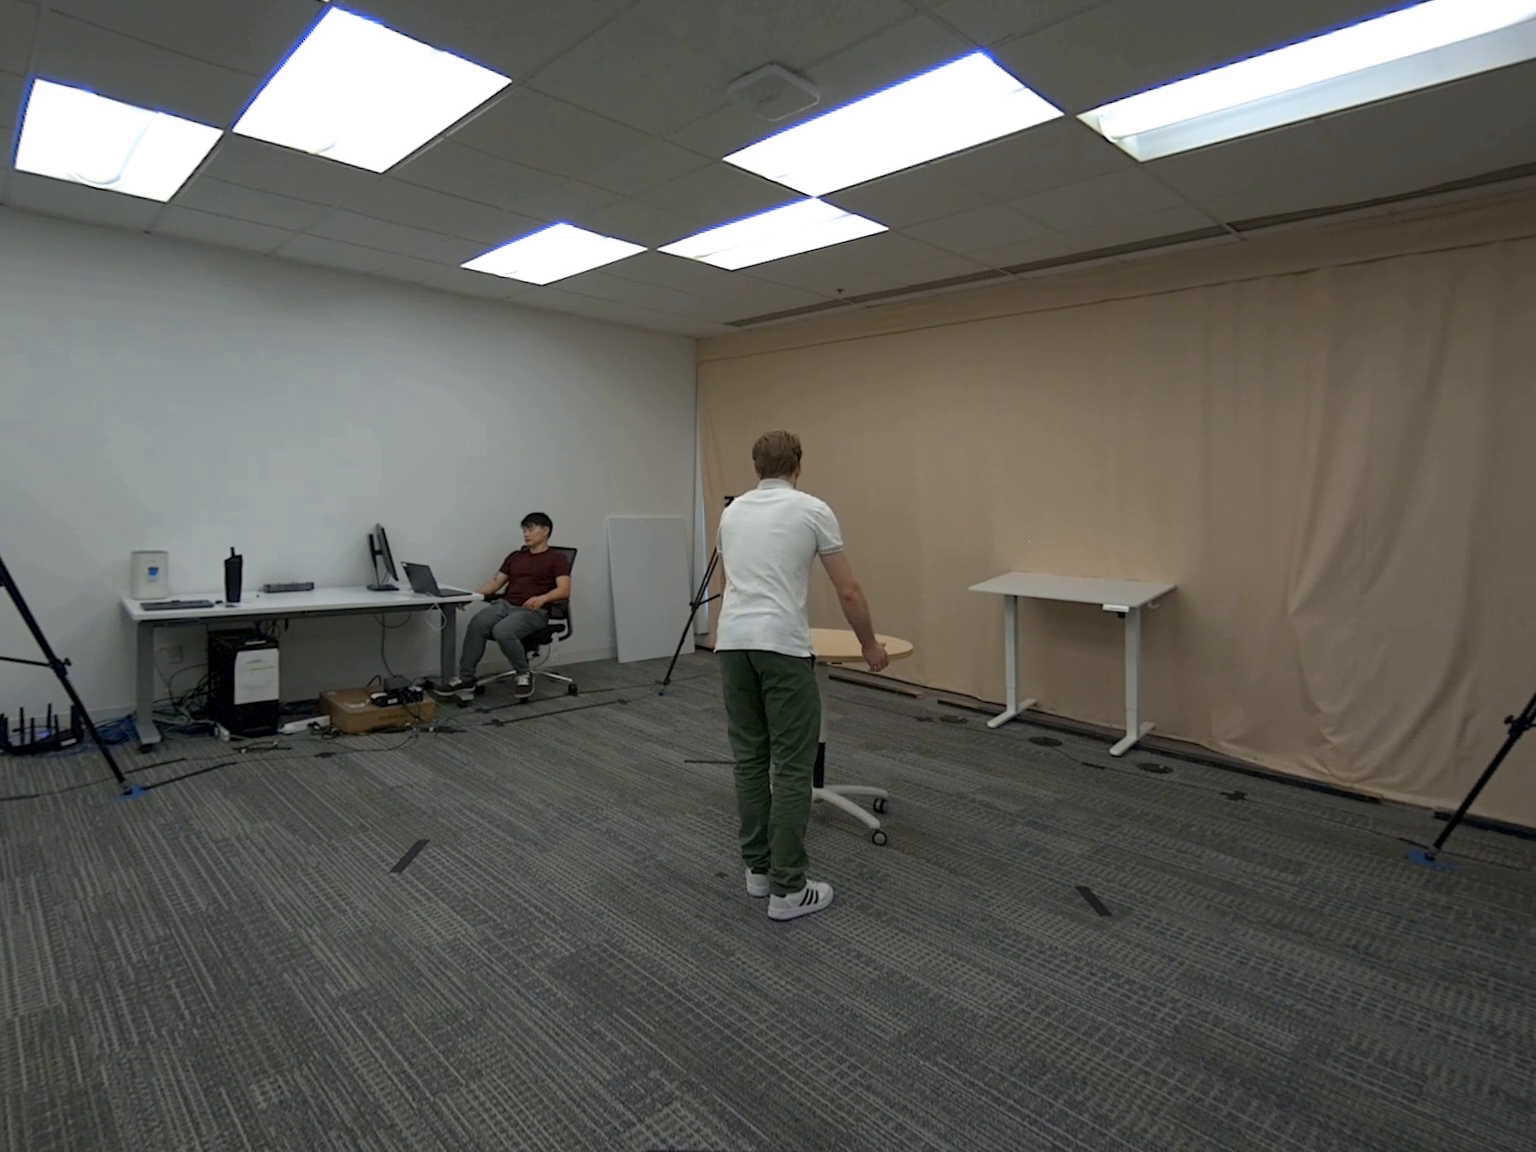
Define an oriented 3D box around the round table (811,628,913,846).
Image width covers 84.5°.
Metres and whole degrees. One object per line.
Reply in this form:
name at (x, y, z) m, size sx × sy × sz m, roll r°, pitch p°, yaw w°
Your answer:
round table at (0.221, 0.676, 3.674) m, size 0.763 × 0.792 × 0.766 m, roll 2°, pitch 3°, yaw -1°
